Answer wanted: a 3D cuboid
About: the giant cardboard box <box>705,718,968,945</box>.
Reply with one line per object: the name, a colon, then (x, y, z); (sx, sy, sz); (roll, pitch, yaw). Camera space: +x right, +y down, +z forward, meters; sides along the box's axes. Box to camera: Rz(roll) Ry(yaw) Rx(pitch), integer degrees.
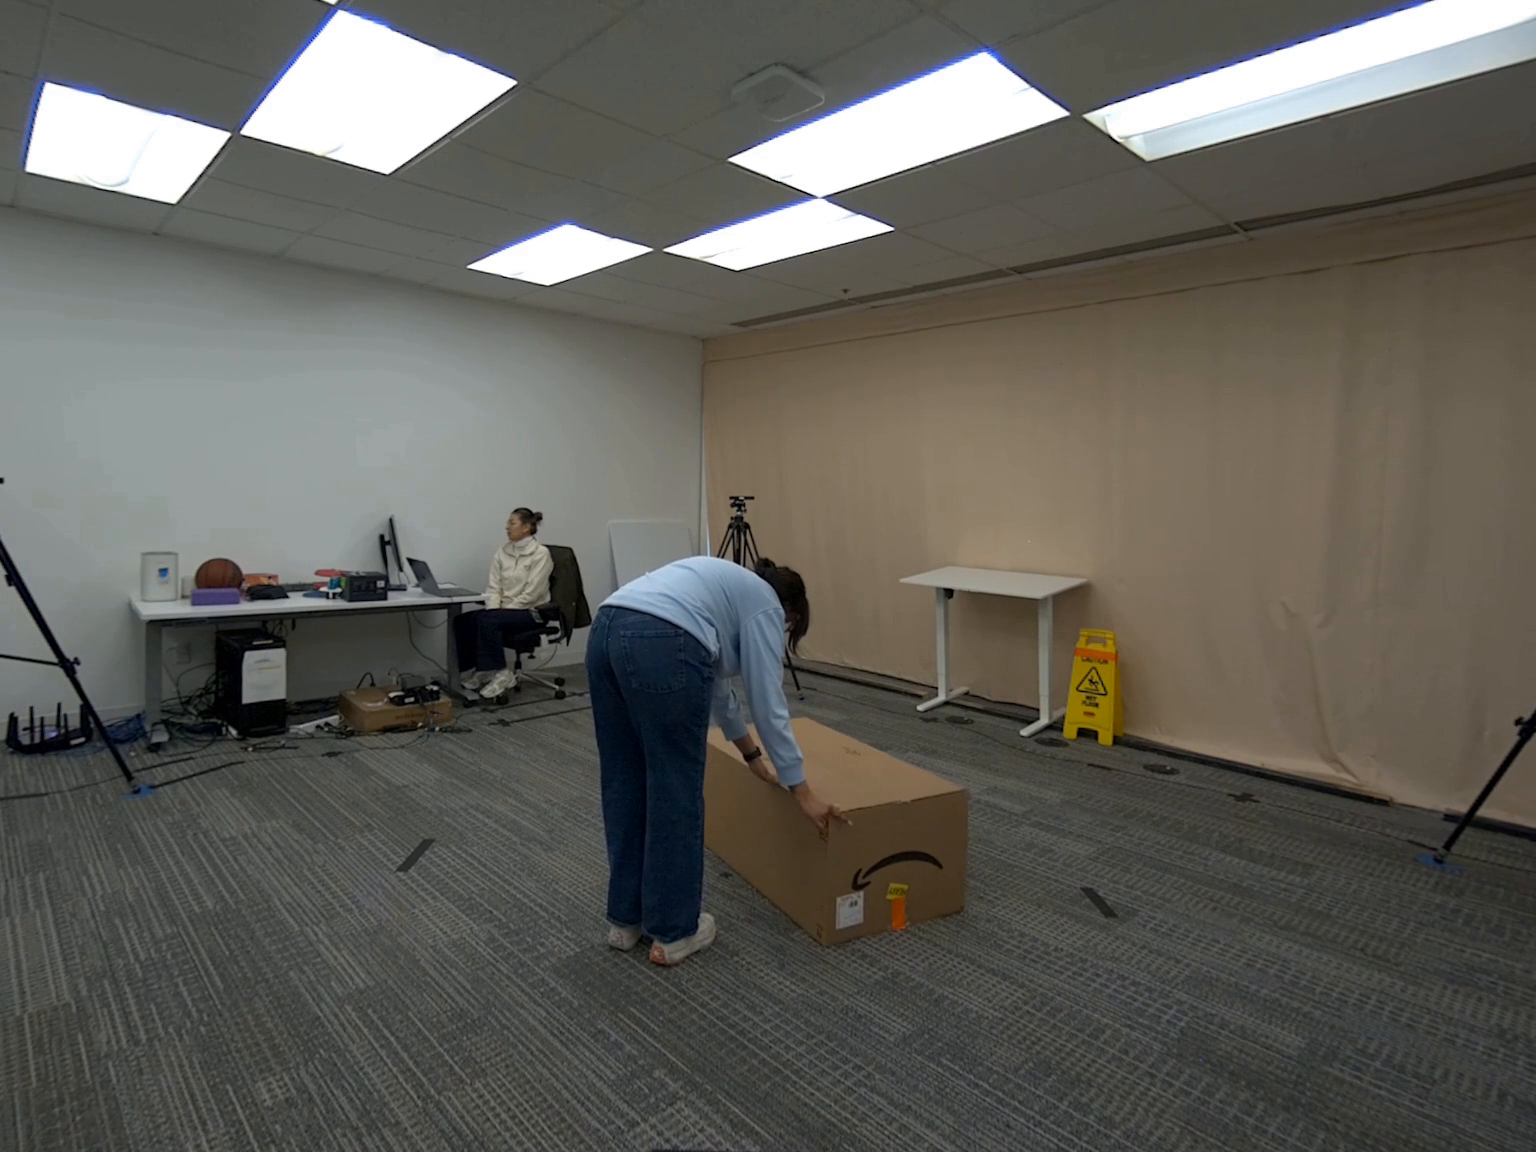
giant cardboard box: (0.167, 0.894, 3.181); (0.566, 0.425, 1.049); (-1, 6, -29)
